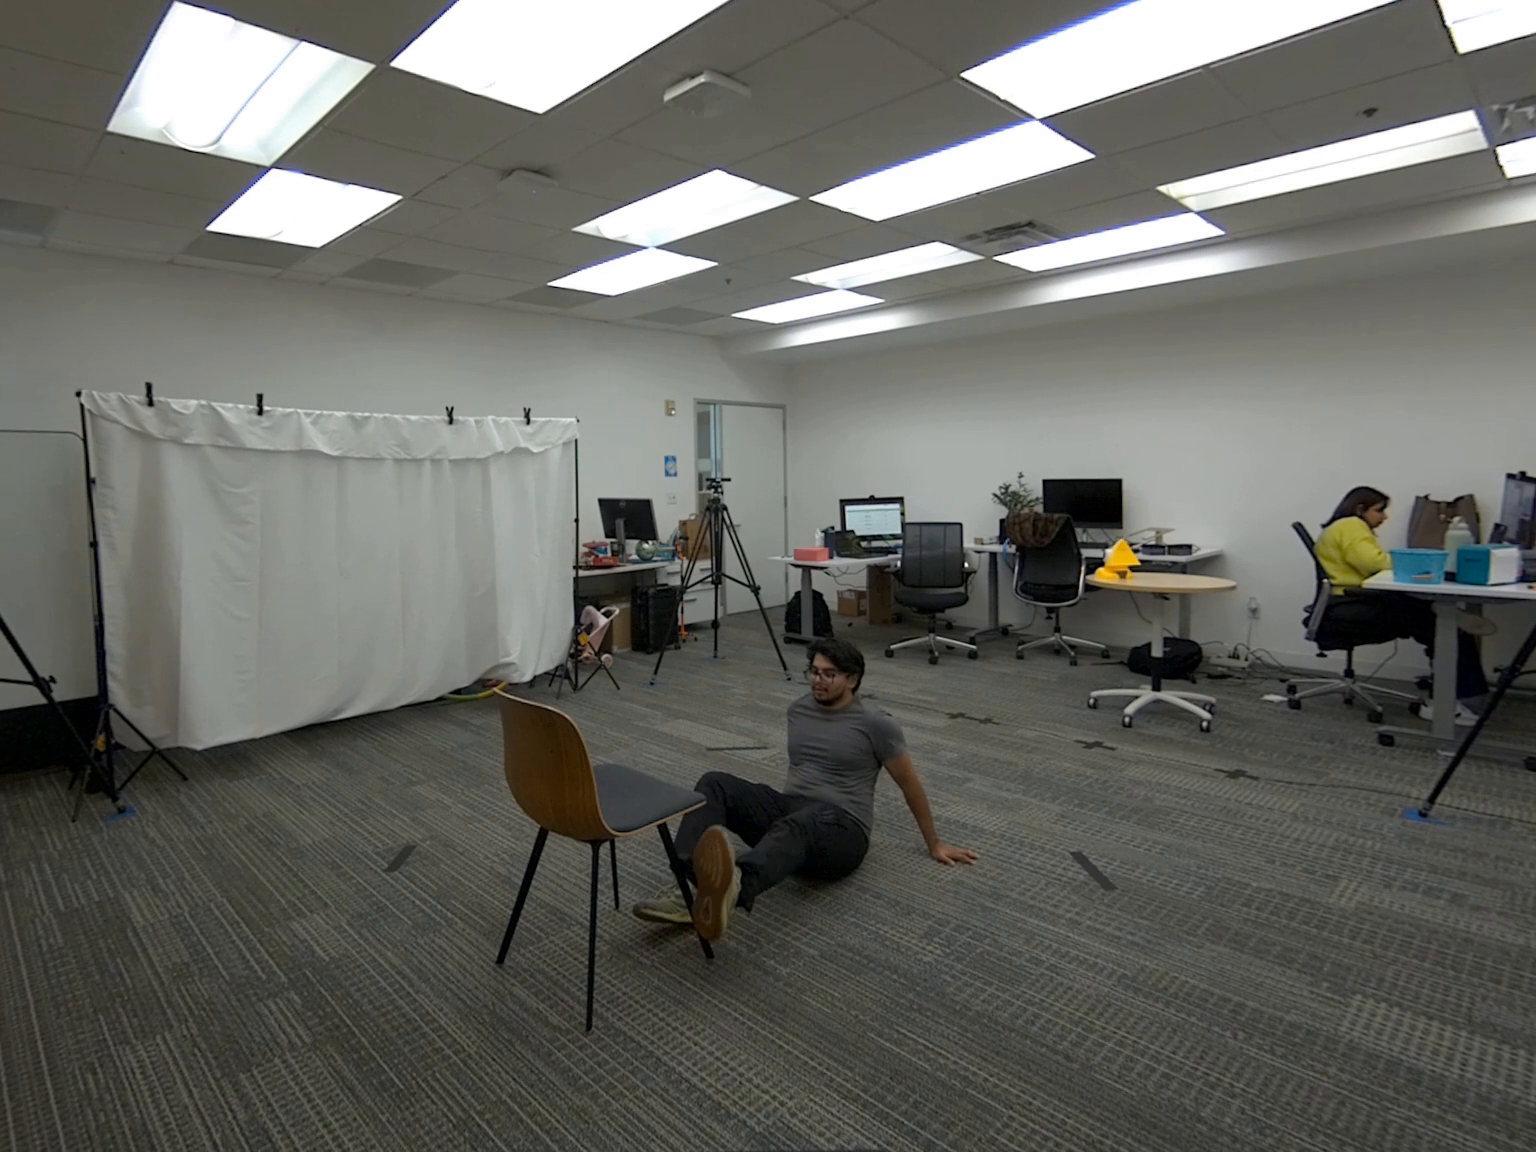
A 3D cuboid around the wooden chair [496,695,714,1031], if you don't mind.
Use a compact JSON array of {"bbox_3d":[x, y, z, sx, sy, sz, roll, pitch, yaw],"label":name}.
[{"bbox_3d":[-0.477,0.701,2.462,0.493,0.871,0.511,3,10,43],"label":"wooden chair"}]
